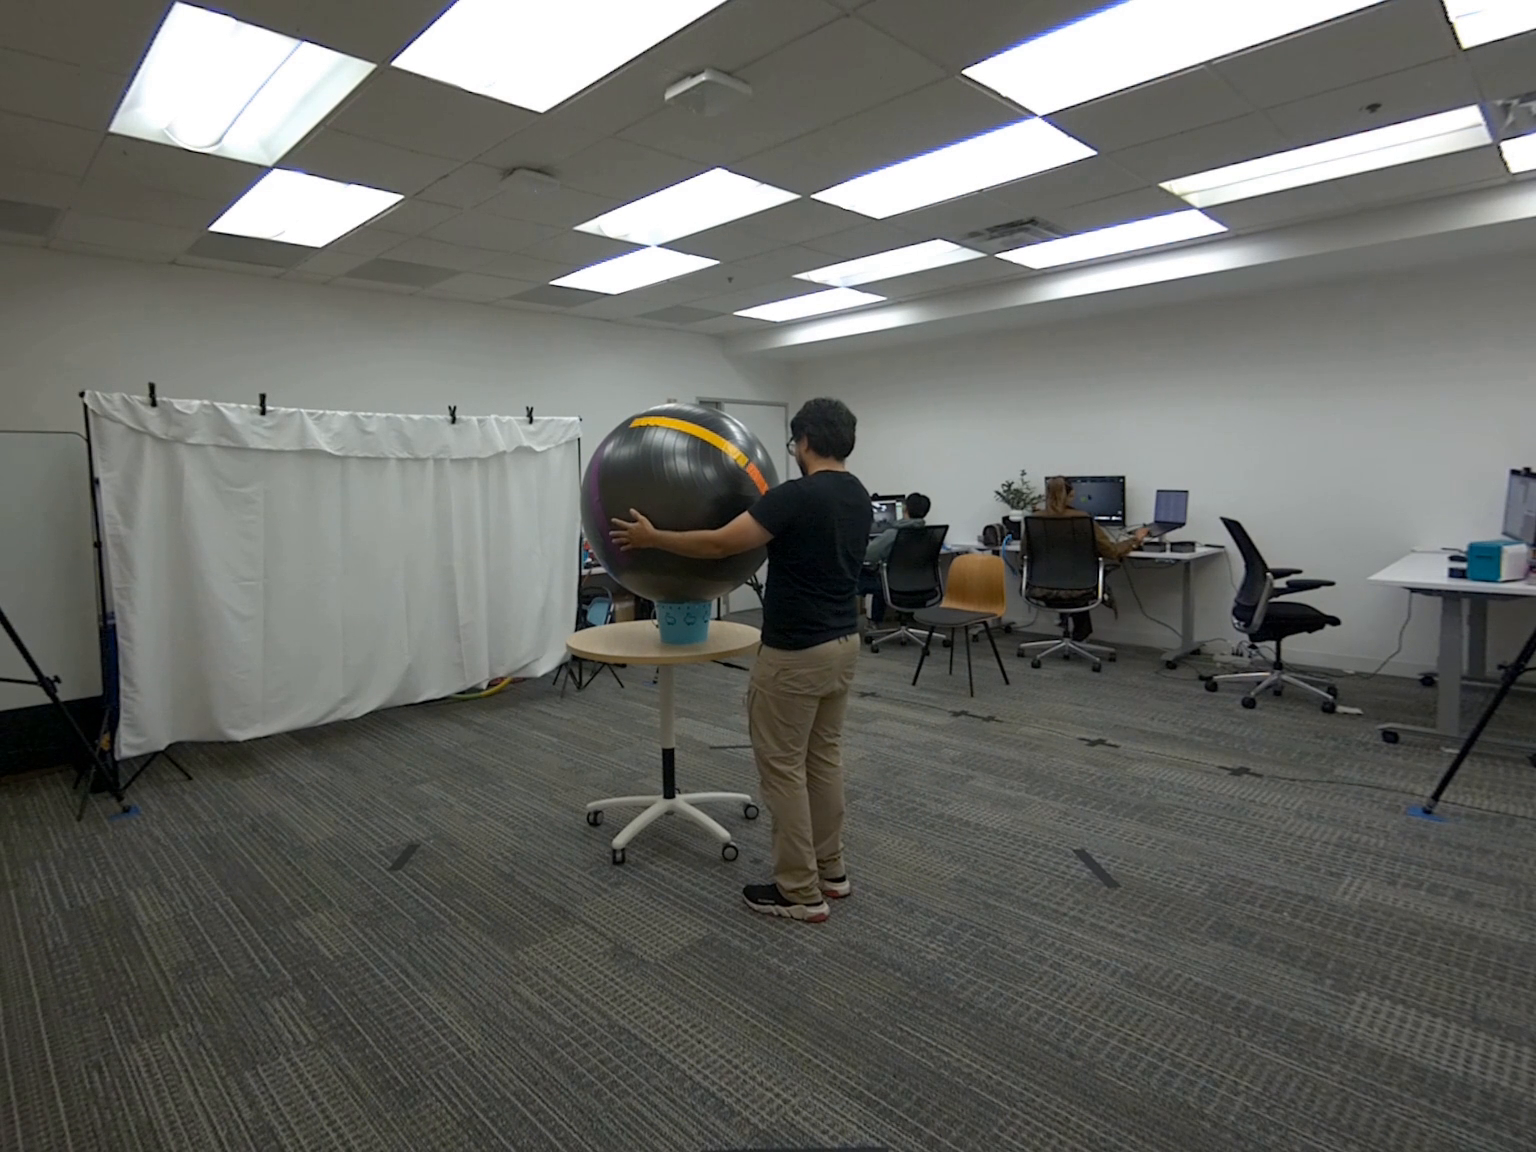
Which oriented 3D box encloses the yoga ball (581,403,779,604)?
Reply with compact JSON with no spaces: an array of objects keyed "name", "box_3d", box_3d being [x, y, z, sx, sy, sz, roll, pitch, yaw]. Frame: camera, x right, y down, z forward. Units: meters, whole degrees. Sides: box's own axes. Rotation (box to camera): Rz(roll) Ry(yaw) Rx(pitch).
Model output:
[{"name":"yoga ball","box_3d":[-0.325,-0.266,3.227,0.757,0.755,0.762,-1,5,-2]}]
